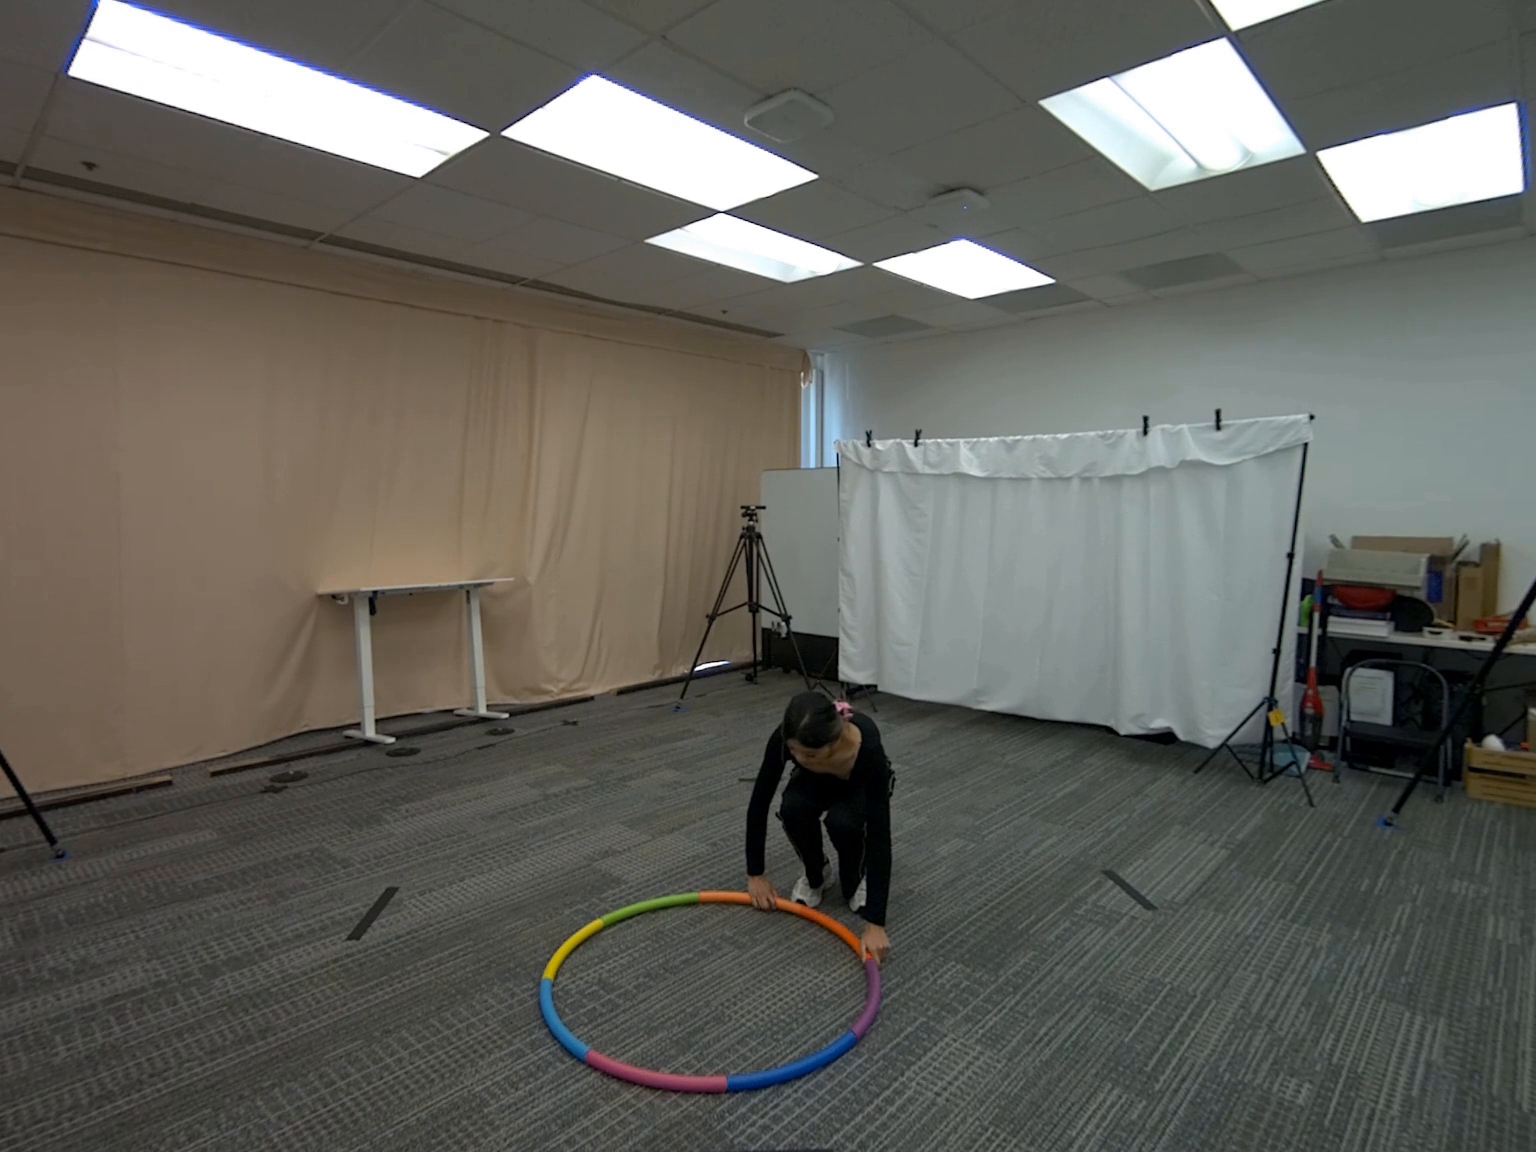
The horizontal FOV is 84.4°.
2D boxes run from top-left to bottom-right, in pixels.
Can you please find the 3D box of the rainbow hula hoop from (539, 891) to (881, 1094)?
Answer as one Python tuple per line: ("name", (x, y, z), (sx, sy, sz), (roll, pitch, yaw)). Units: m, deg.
("rainbow hula hoop", (-0.168, 1.155, 2.482), (0.978, 0.035, 0.982), (-1, 4, -2))
